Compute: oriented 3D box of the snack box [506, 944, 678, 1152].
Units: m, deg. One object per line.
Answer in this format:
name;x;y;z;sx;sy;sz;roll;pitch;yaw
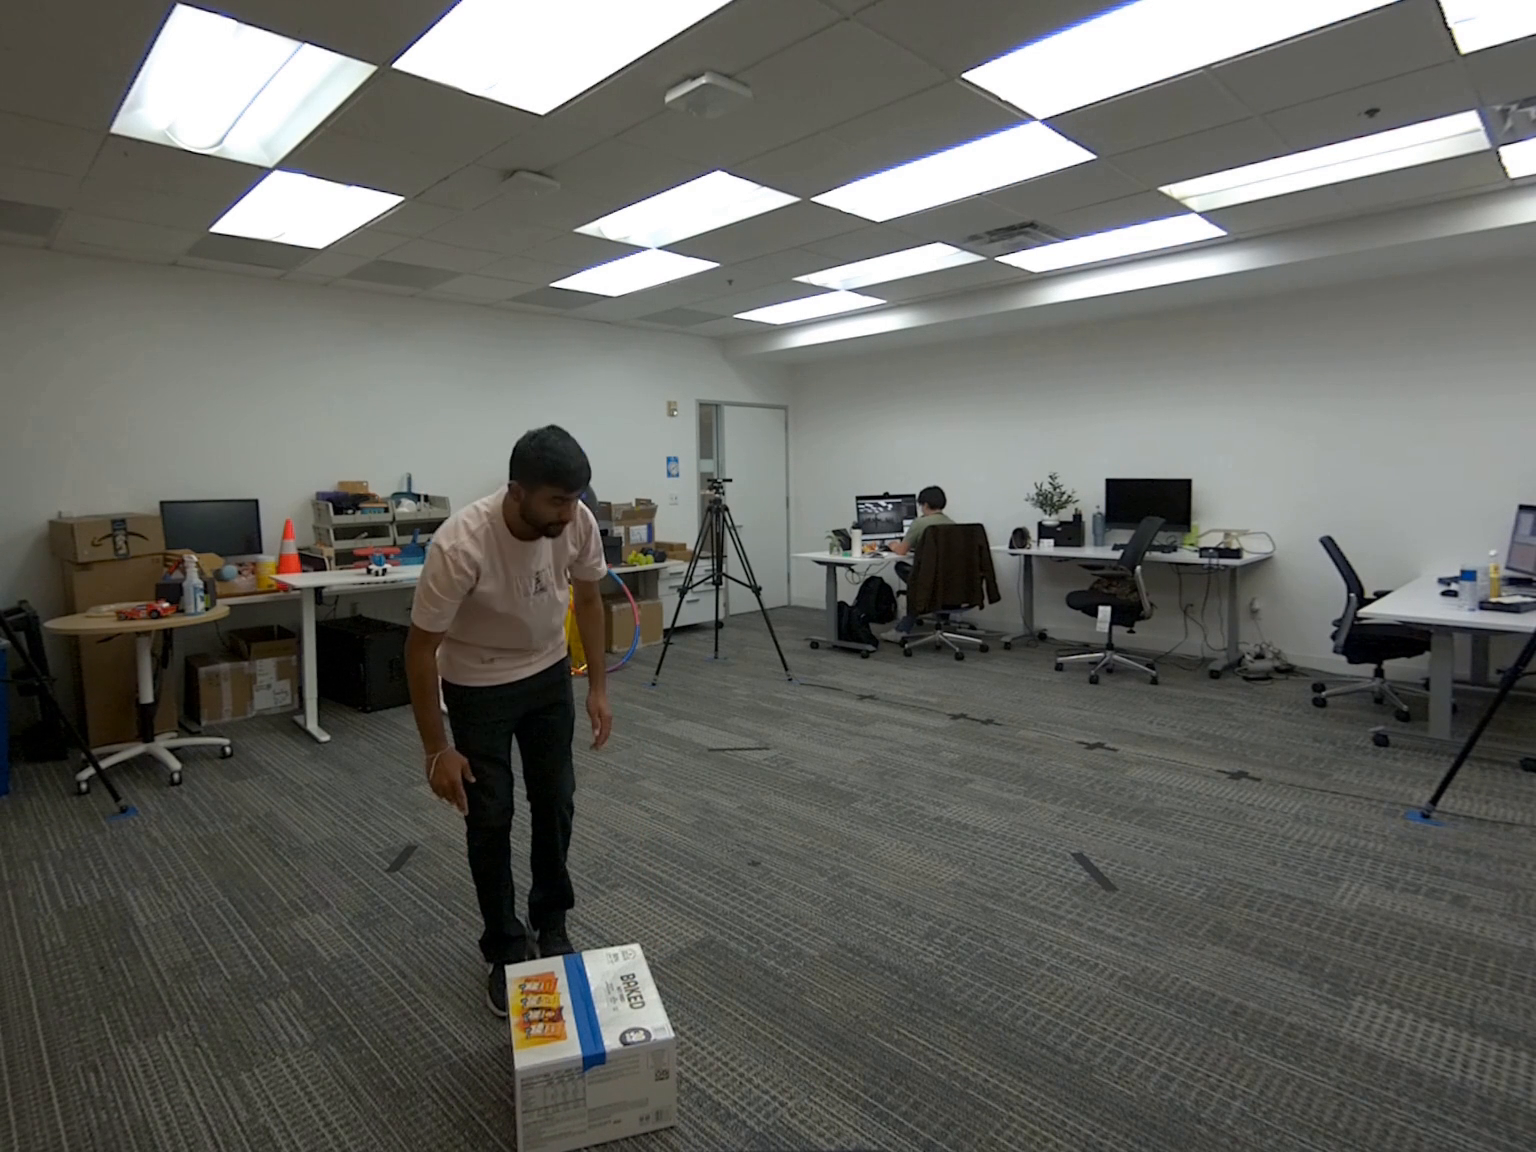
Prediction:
snack box;-0.413;1.085;1.981;0.335;0.205;0.413;-3;6;-18
